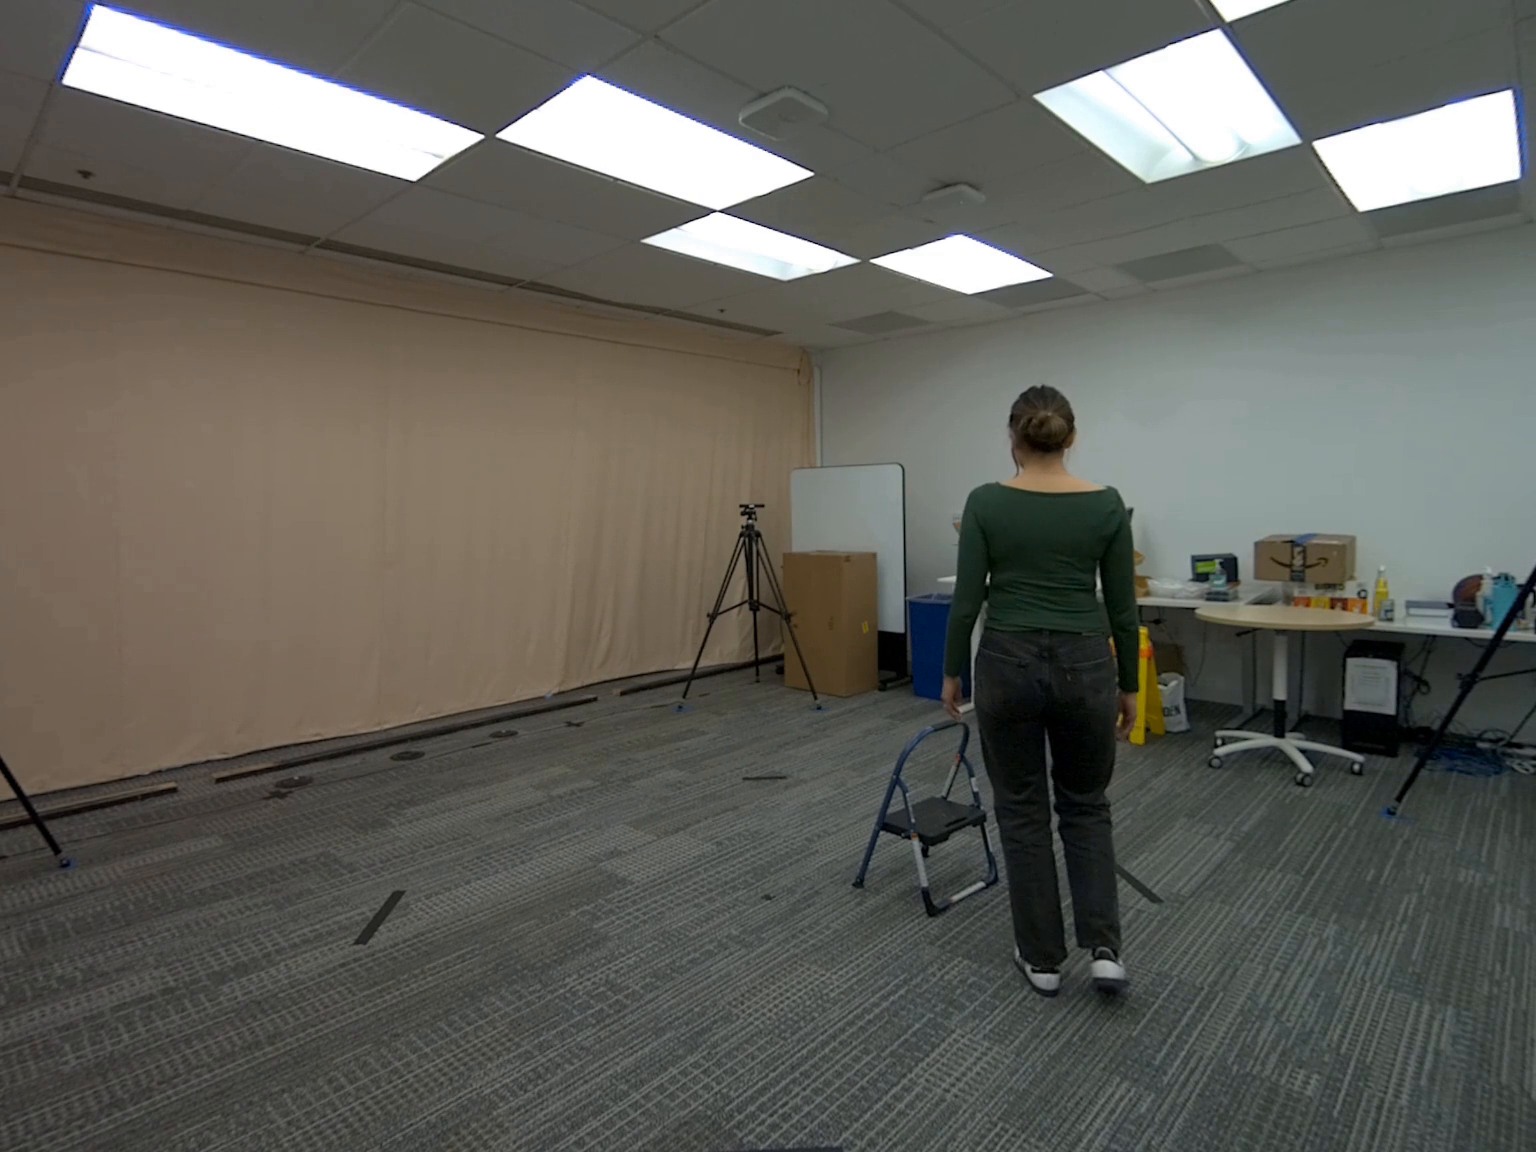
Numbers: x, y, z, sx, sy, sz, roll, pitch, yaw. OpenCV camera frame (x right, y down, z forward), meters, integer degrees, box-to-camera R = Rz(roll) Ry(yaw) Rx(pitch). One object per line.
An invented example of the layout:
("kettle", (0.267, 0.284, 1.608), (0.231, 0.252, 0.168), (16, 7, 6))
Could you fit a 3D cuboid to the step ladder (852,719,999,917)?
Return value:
("step ladder", (0.577, 0.819, 3.056), (0.417, 0.605, 0.361), (-4, 5, -43))
